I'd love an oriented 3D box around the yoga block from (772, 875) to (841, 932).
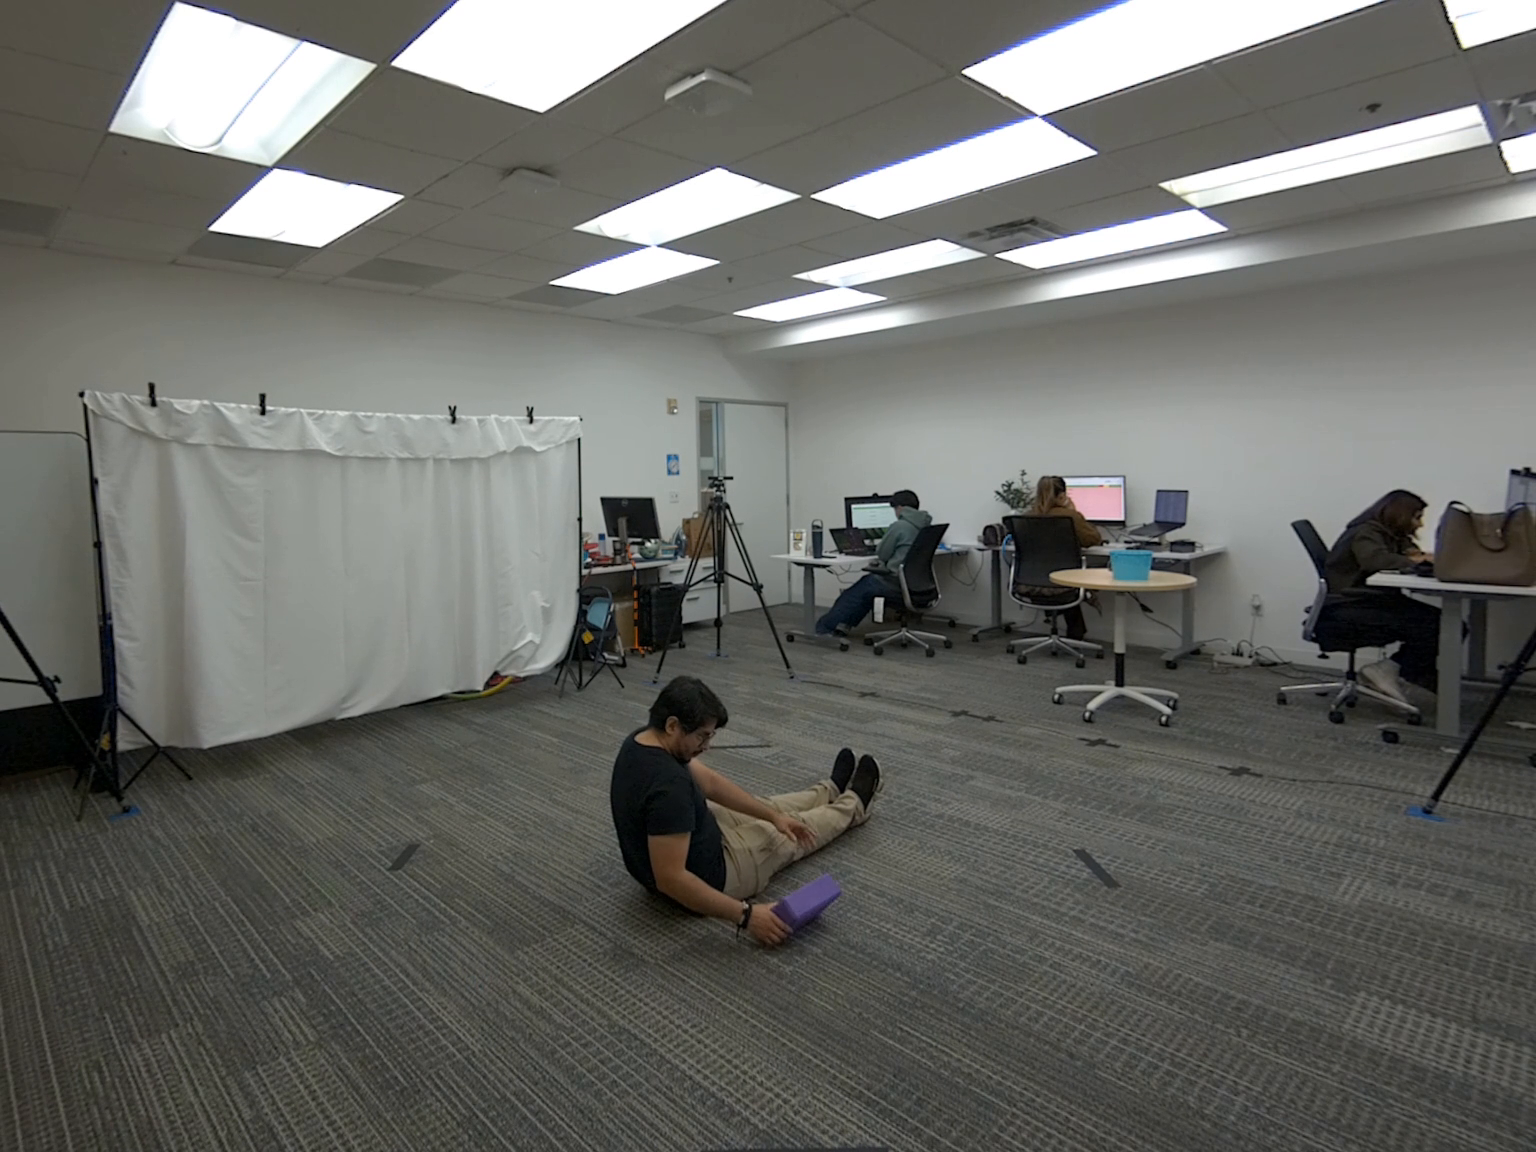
[{"bbox_3d":[0.100,1.016,2.627,0.223,0.148,0.079,-8,49,-46],"label":"yoga block"}]
